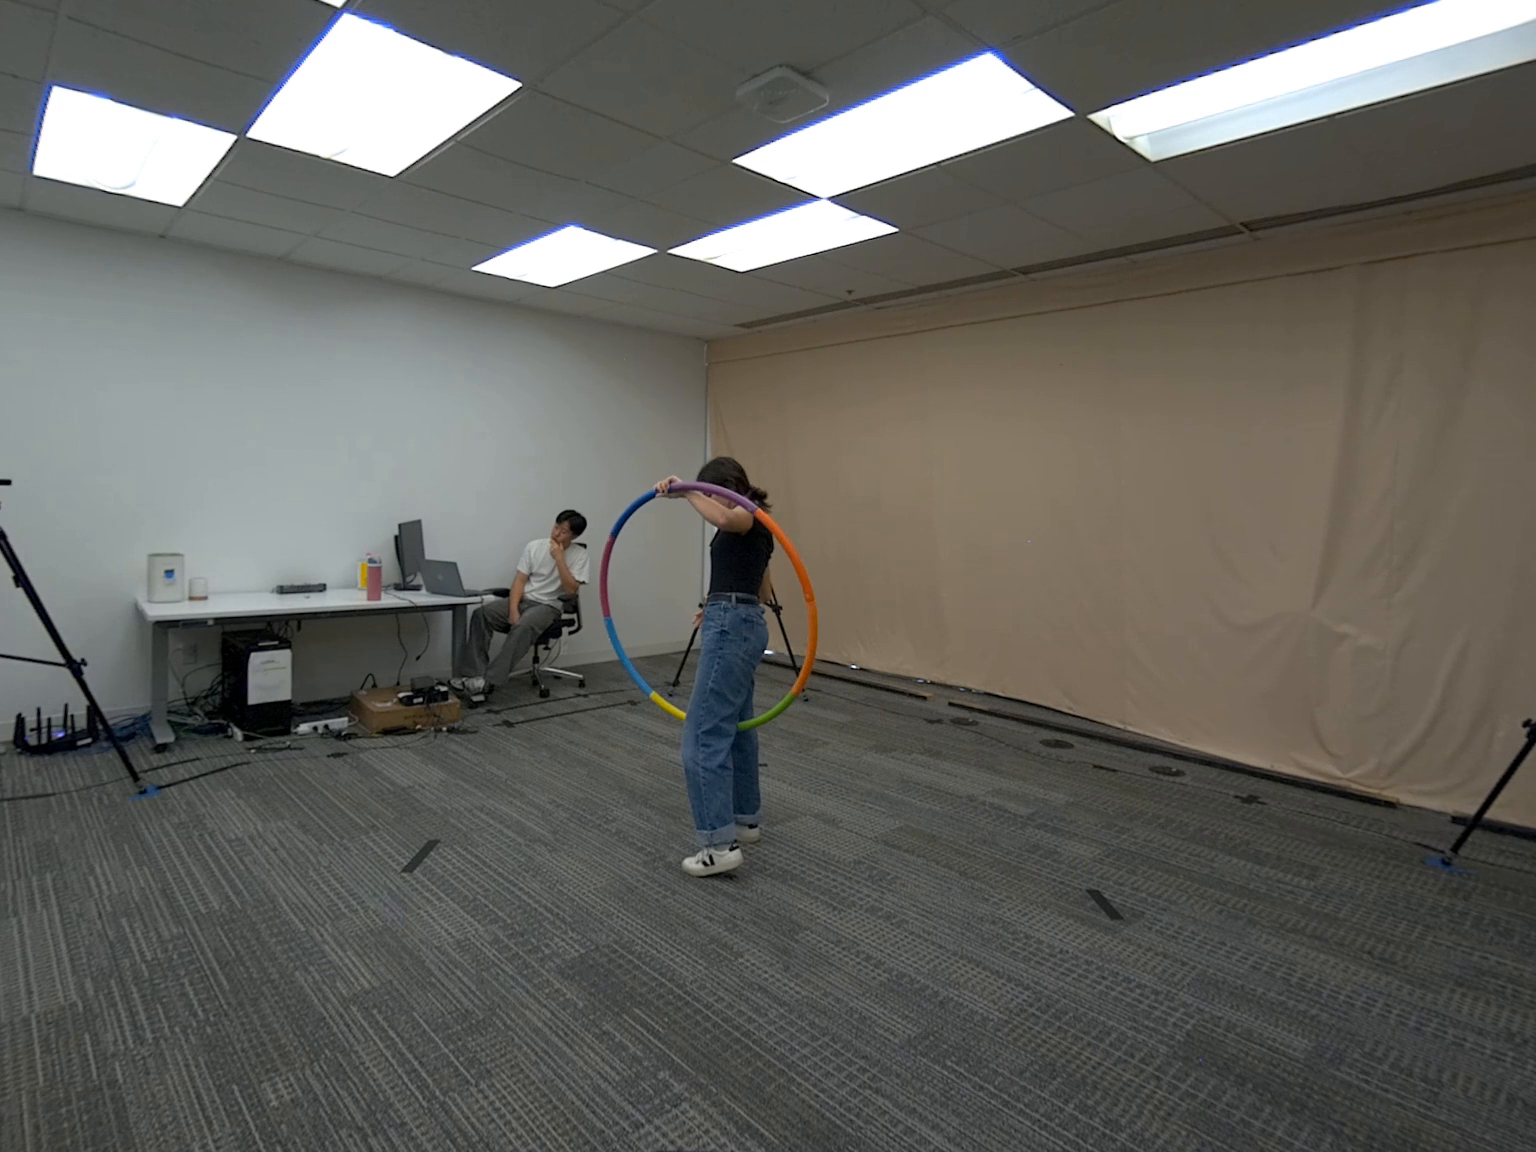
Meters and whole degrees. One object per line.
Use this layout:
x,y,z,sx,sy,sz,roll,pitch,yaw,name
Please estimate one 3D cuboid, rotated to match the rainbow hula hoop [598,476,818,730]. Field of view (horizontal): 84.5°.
-0.257,0.130,3.200,1.000,0.969,0.035,4,15,31,rainbow hula hoop
